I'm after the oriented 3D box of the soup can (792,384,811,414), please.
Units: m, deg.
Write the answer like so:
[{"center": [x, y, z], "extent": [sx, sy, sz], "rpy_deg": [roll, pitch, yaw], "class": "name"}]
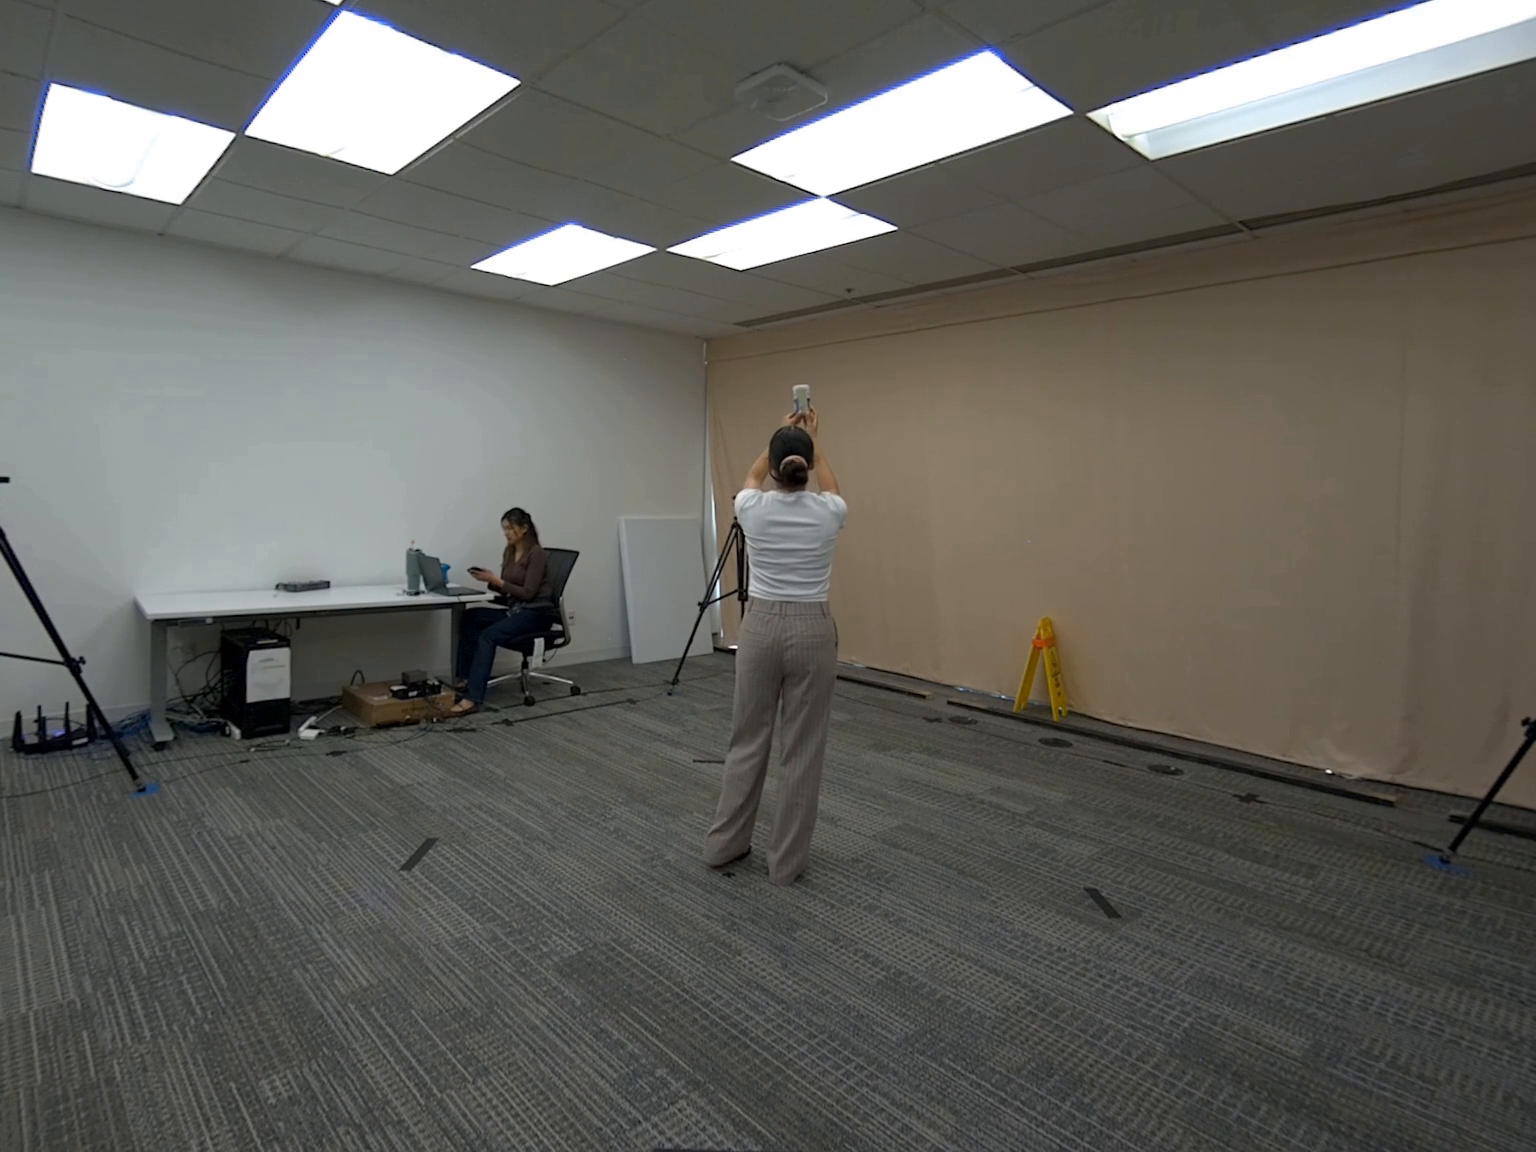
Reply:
[{"center": [0.132, -0.711, 3.403], "extent": [0.067, 0.121, 0.067], "rpy_deg": [-4, 2, -1], "class": "soup can"}]
